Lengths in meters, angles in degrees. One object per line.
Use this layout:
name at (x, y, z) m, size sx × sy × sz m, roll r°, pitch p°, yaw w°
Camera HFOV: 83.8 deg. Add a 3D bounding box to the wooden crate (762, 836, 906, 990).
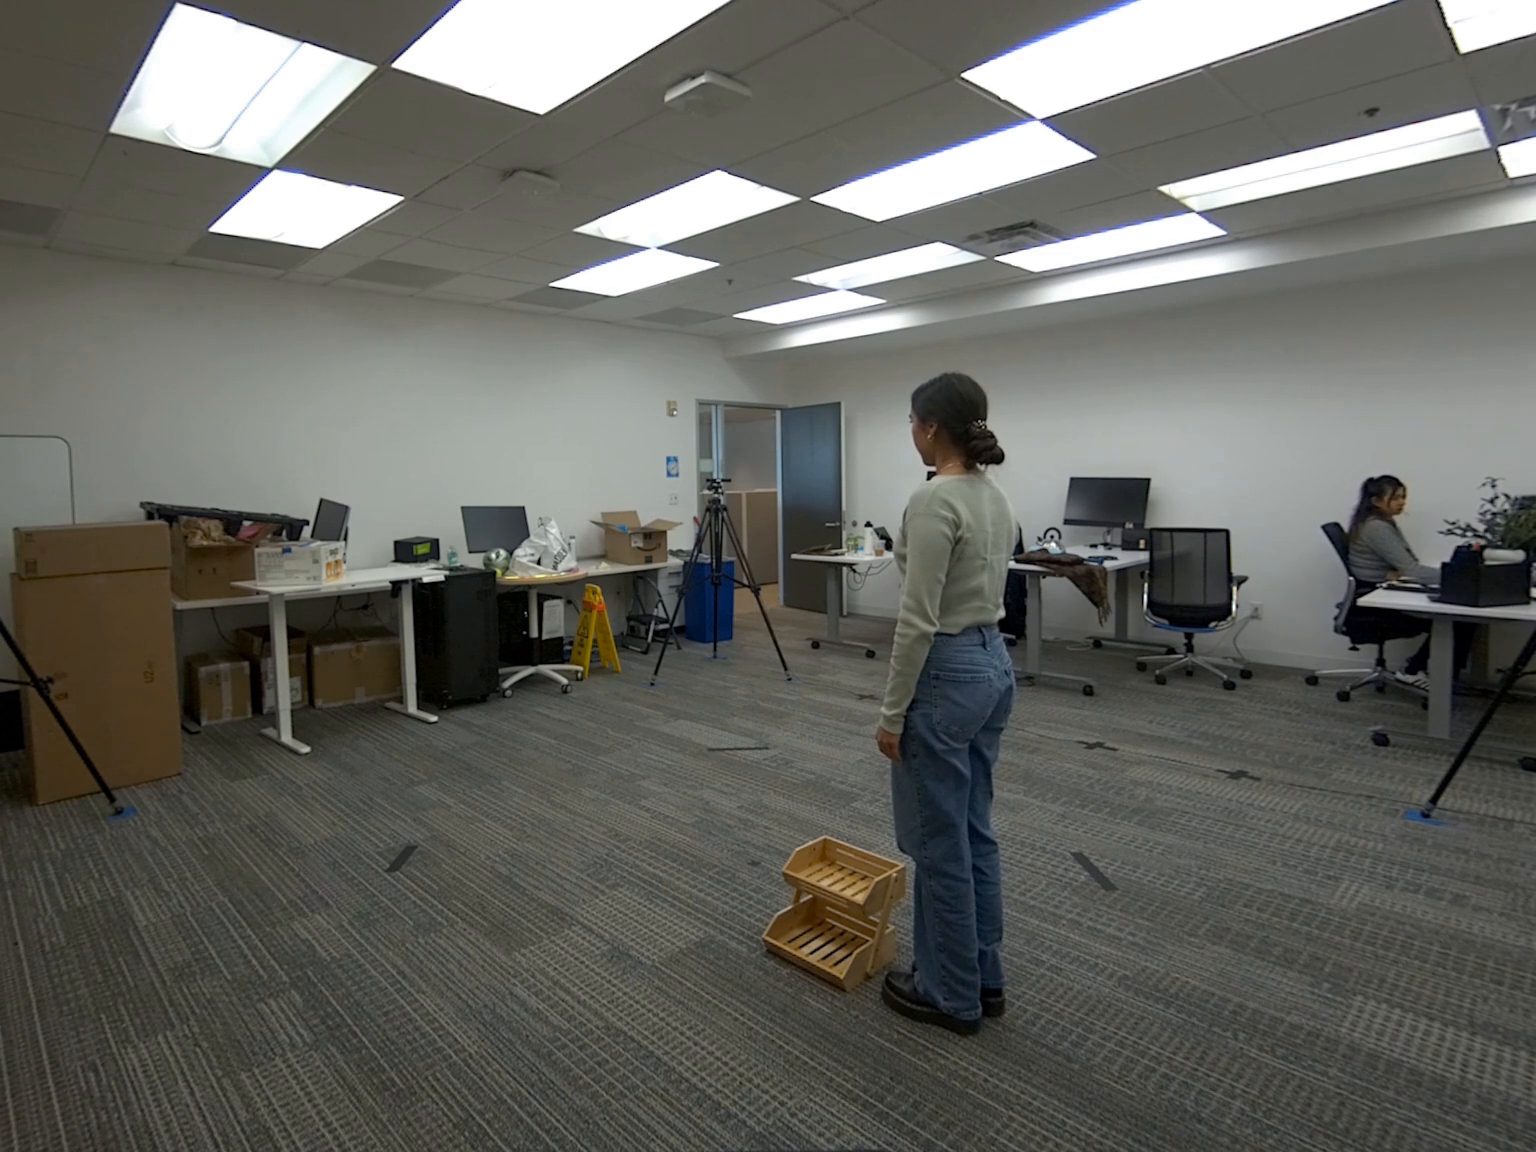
wooden crate at (0.198, 0.976, 2.508) m, size 0.334 × 0.272 × 0.294 m, roll 4°, pitch 6°, yaw 44°
